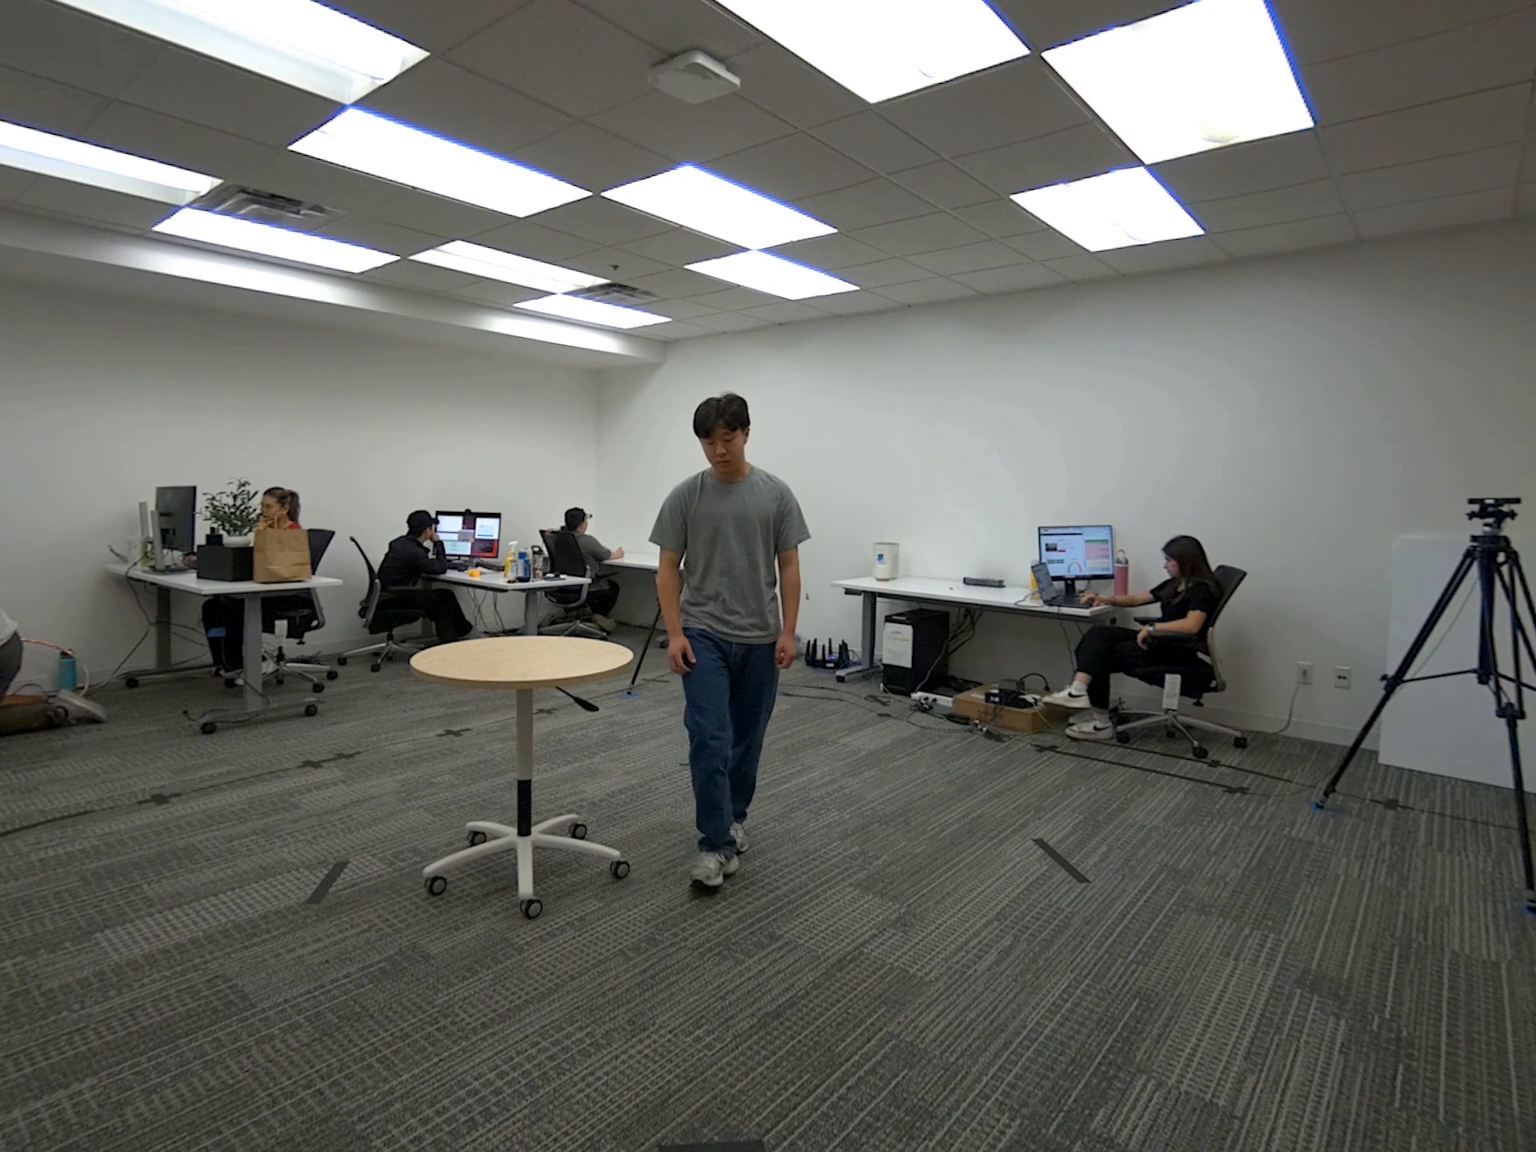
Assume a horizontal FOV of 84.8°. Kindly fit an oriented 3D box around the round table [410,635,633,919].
[{"bbox_3d":[-0.877,0.675,3.025,0.763,0.791,0.768,1,4,-2],"label":"round table"}]
